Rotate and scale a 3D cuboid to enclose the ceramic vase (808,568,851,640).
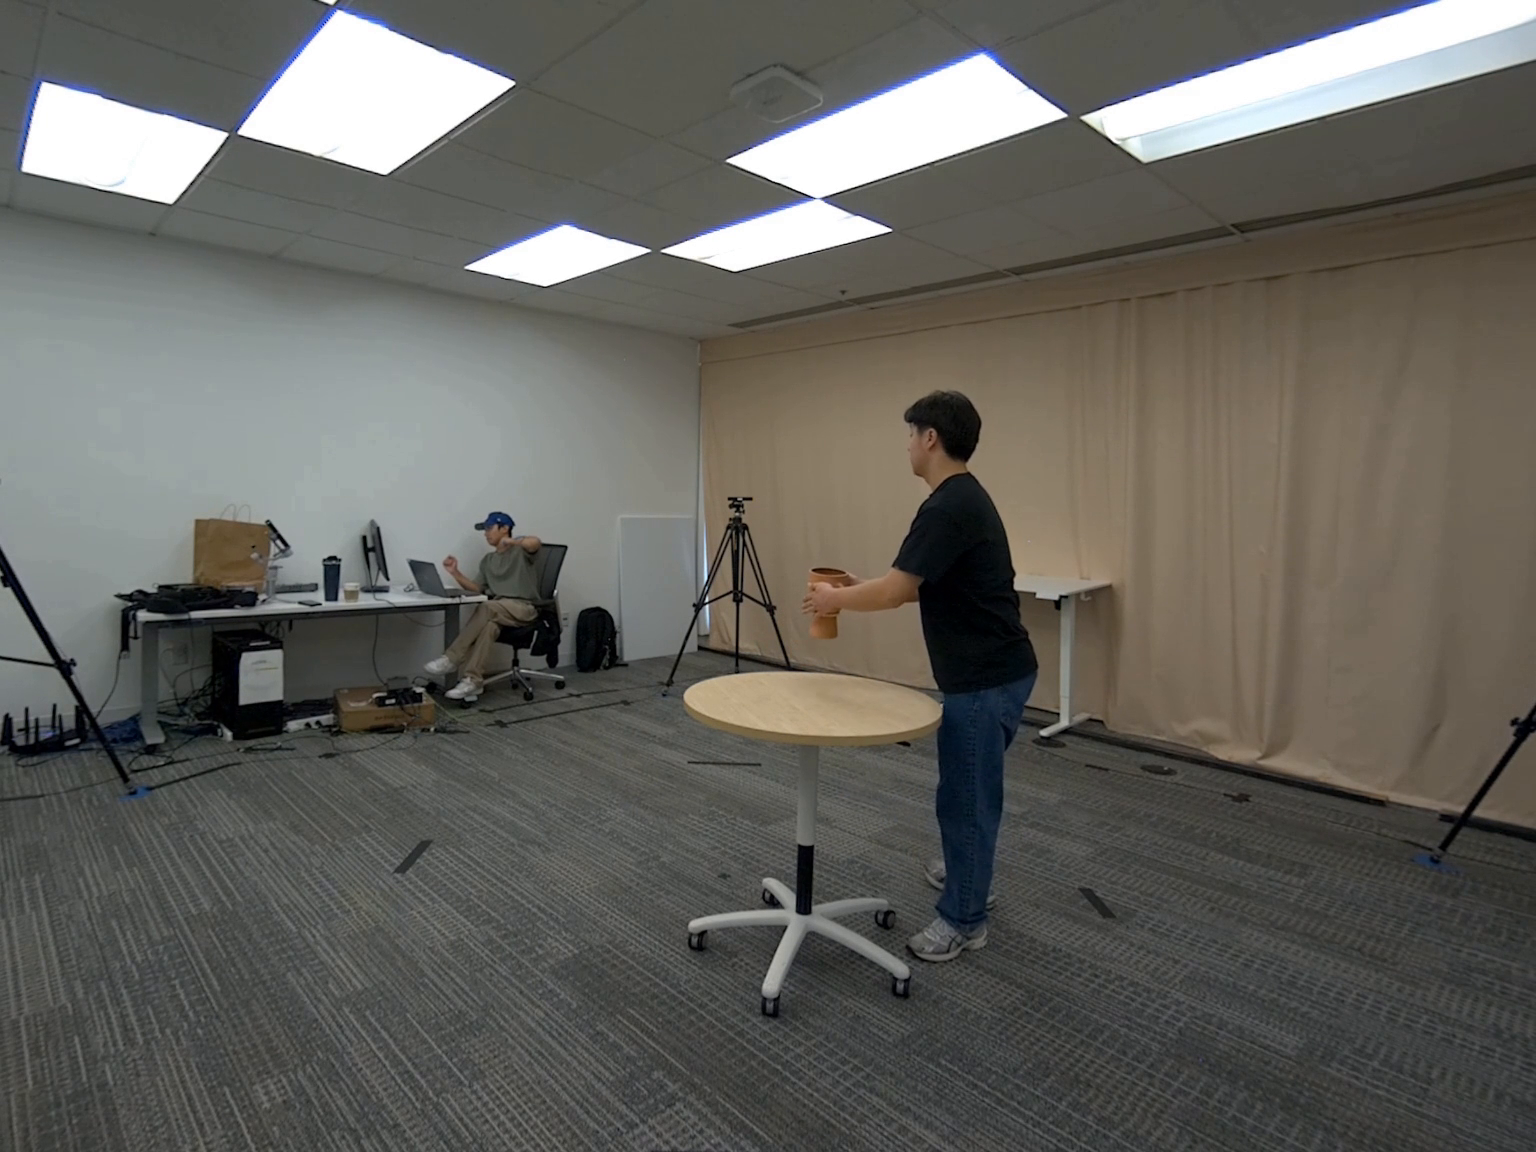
[{"bbox_3d":[0.197,0.094,2.819,0.136,0.218,0.158,6,10,9],"label":"ceramic vase"}]
